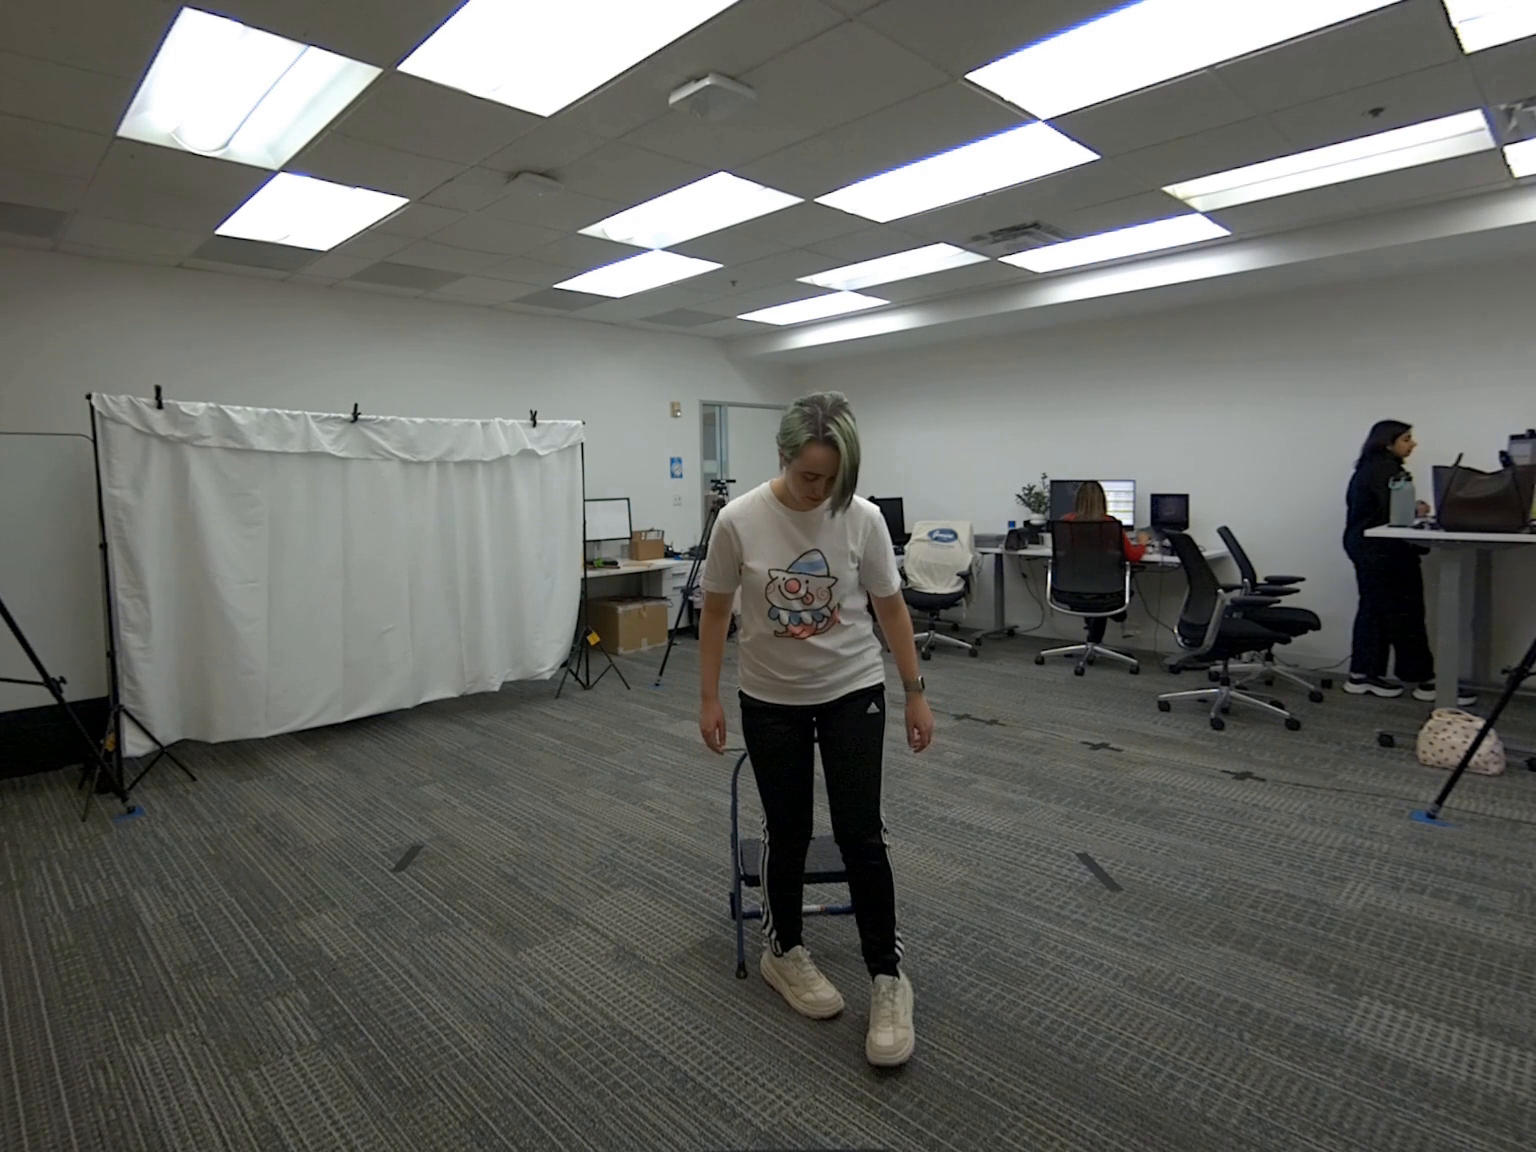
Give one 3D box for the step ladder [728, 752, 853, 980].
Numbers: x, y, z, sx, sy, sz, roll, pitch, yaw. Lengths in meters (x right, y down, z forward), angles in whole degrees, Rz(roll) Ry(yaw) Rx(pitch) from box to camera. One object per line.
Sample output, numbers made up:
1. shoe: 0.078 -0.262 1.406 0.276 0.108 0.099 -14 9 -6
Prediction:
1. step ladder: 0.101 0.808 2.566 0.429 0.604 0.352 -1 4 -5
